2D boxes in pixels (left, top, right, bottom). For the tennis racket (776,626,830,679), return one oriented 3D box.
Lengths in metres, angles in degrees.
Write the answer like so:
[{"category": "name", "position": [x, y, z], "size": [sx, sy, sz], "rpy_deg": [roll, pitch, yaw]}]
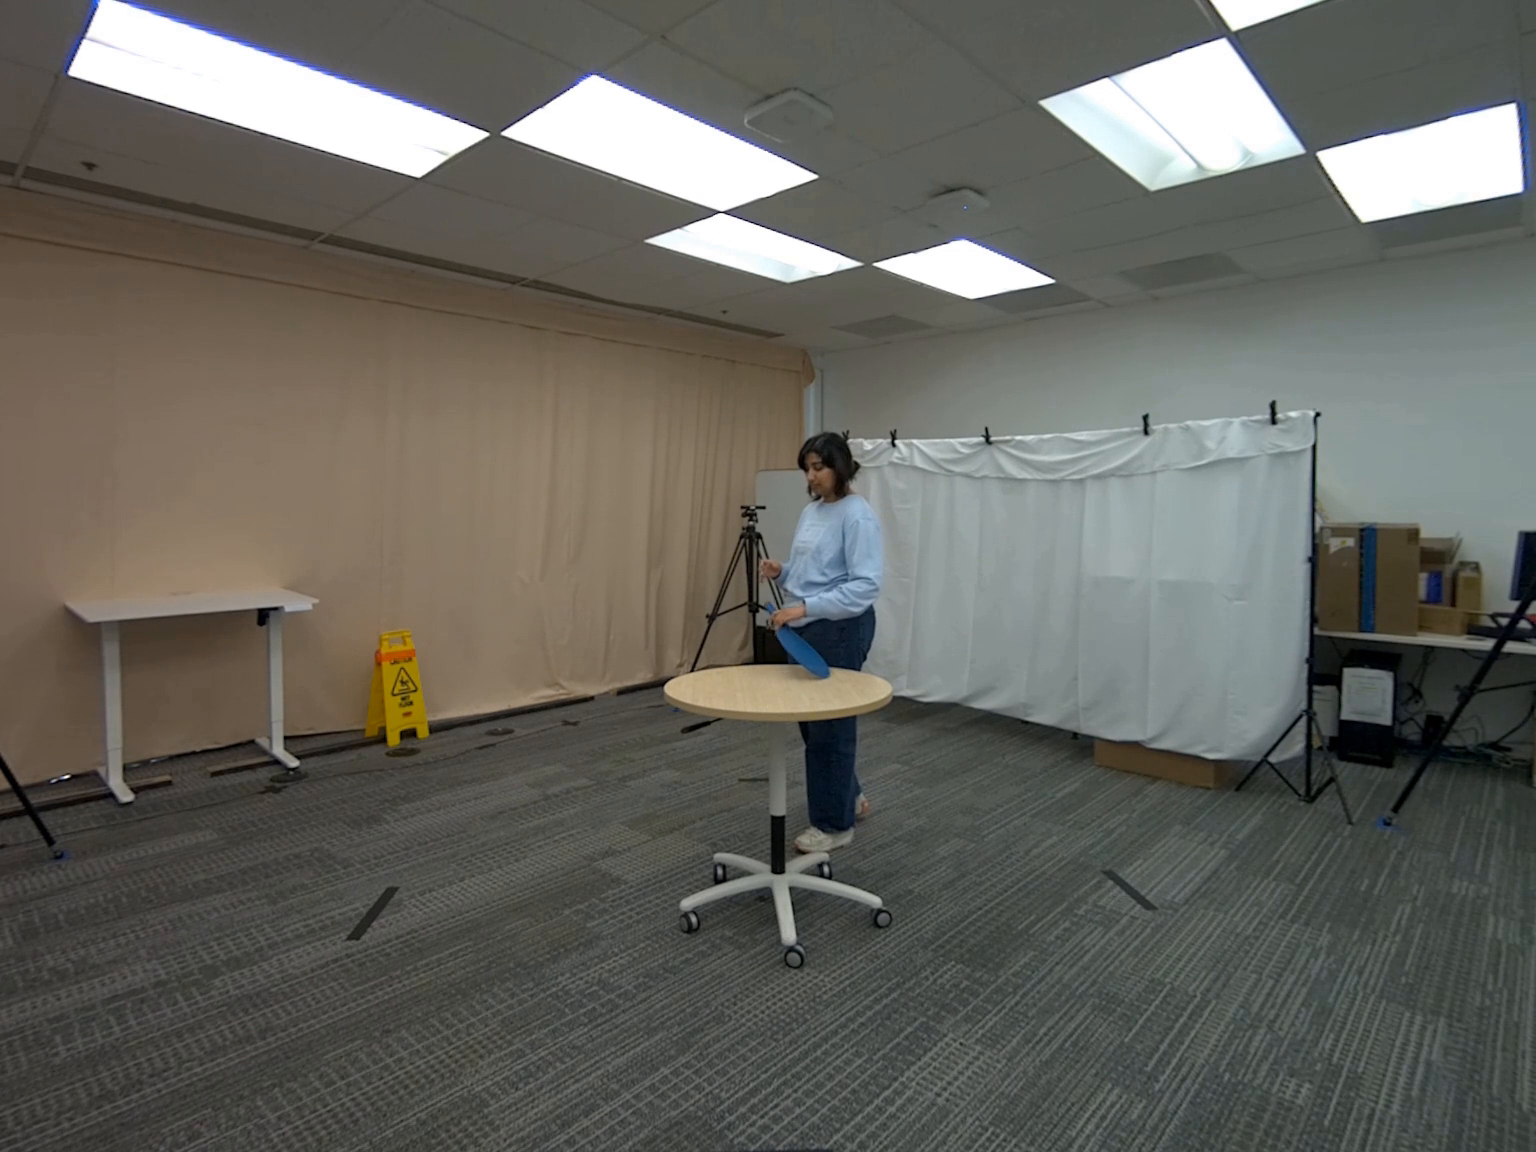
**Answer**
[{"category": "tennis racket", "position": [0.090, 0.229, 3.109], "size": [0.207, 0.032, 0.446], "rpy_deg": [32, 16, -32]}]
